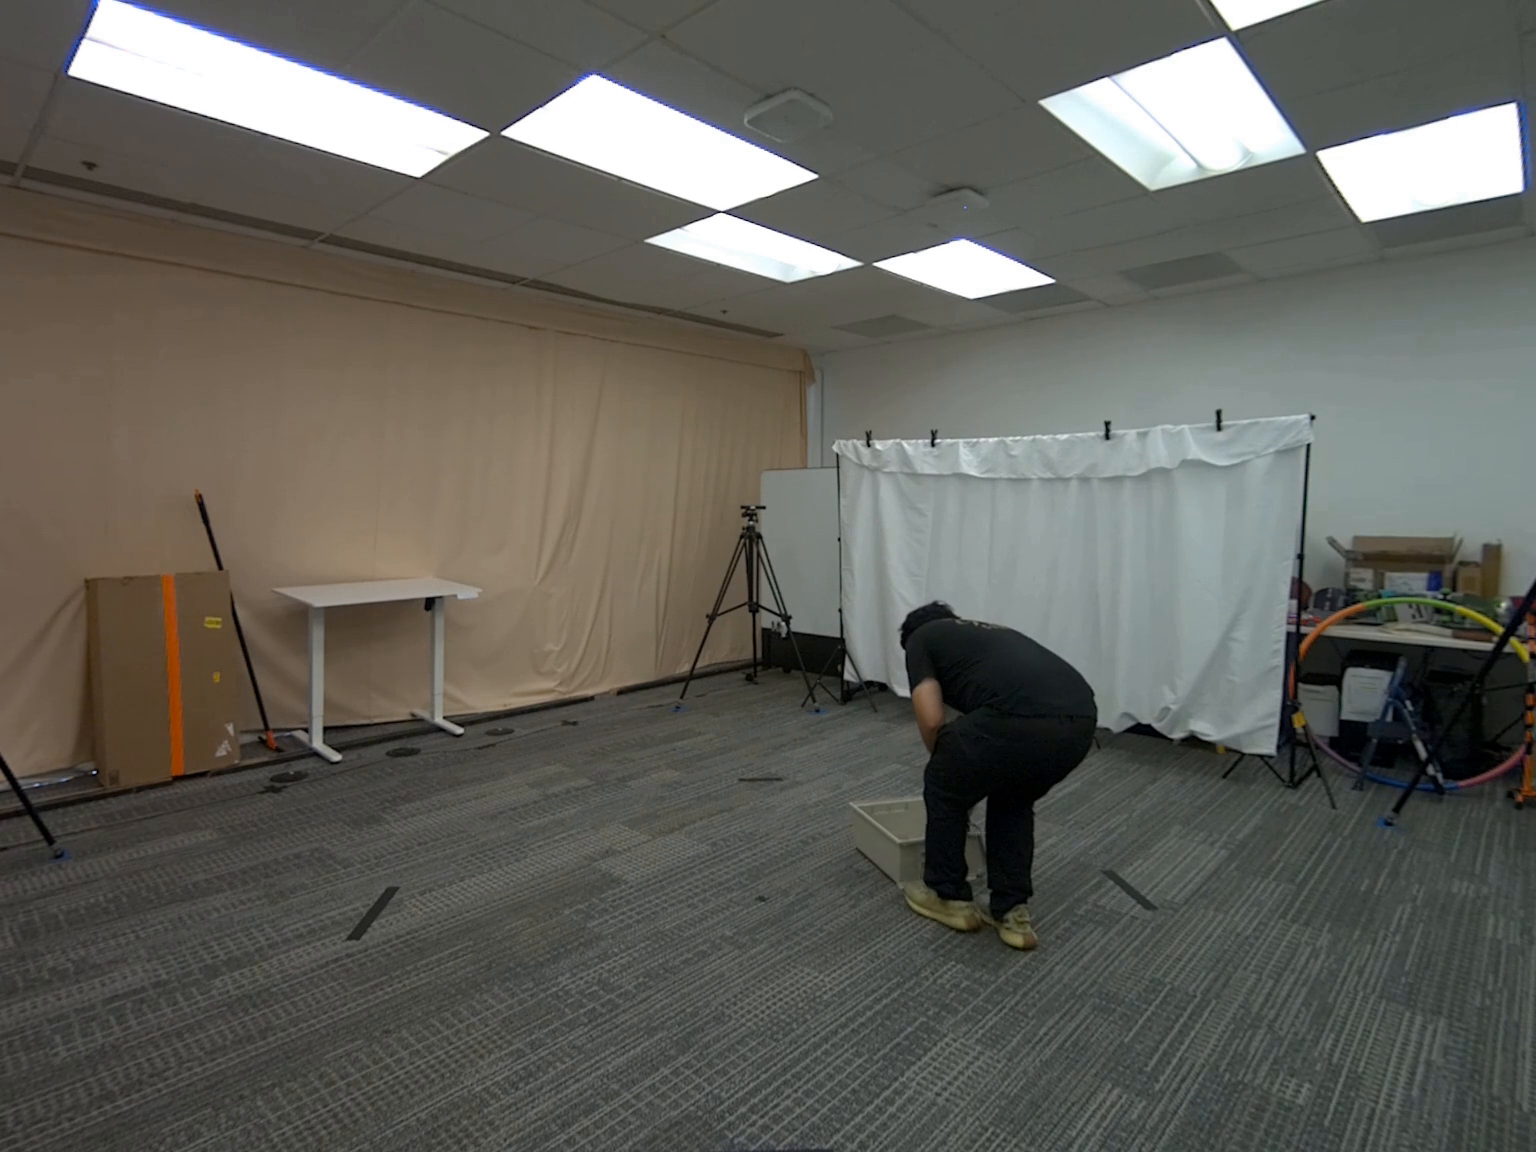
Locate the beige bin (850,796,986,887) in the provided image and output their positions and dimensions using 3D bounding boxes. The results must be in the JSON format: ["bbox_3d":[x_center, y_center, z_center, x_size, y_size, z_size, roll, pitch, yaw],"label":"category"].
[{"bbox_3d":[0.581,1.026,3.288,0.370,0.188,0.431,-3,6,-19],"label":"beige bin"}]
